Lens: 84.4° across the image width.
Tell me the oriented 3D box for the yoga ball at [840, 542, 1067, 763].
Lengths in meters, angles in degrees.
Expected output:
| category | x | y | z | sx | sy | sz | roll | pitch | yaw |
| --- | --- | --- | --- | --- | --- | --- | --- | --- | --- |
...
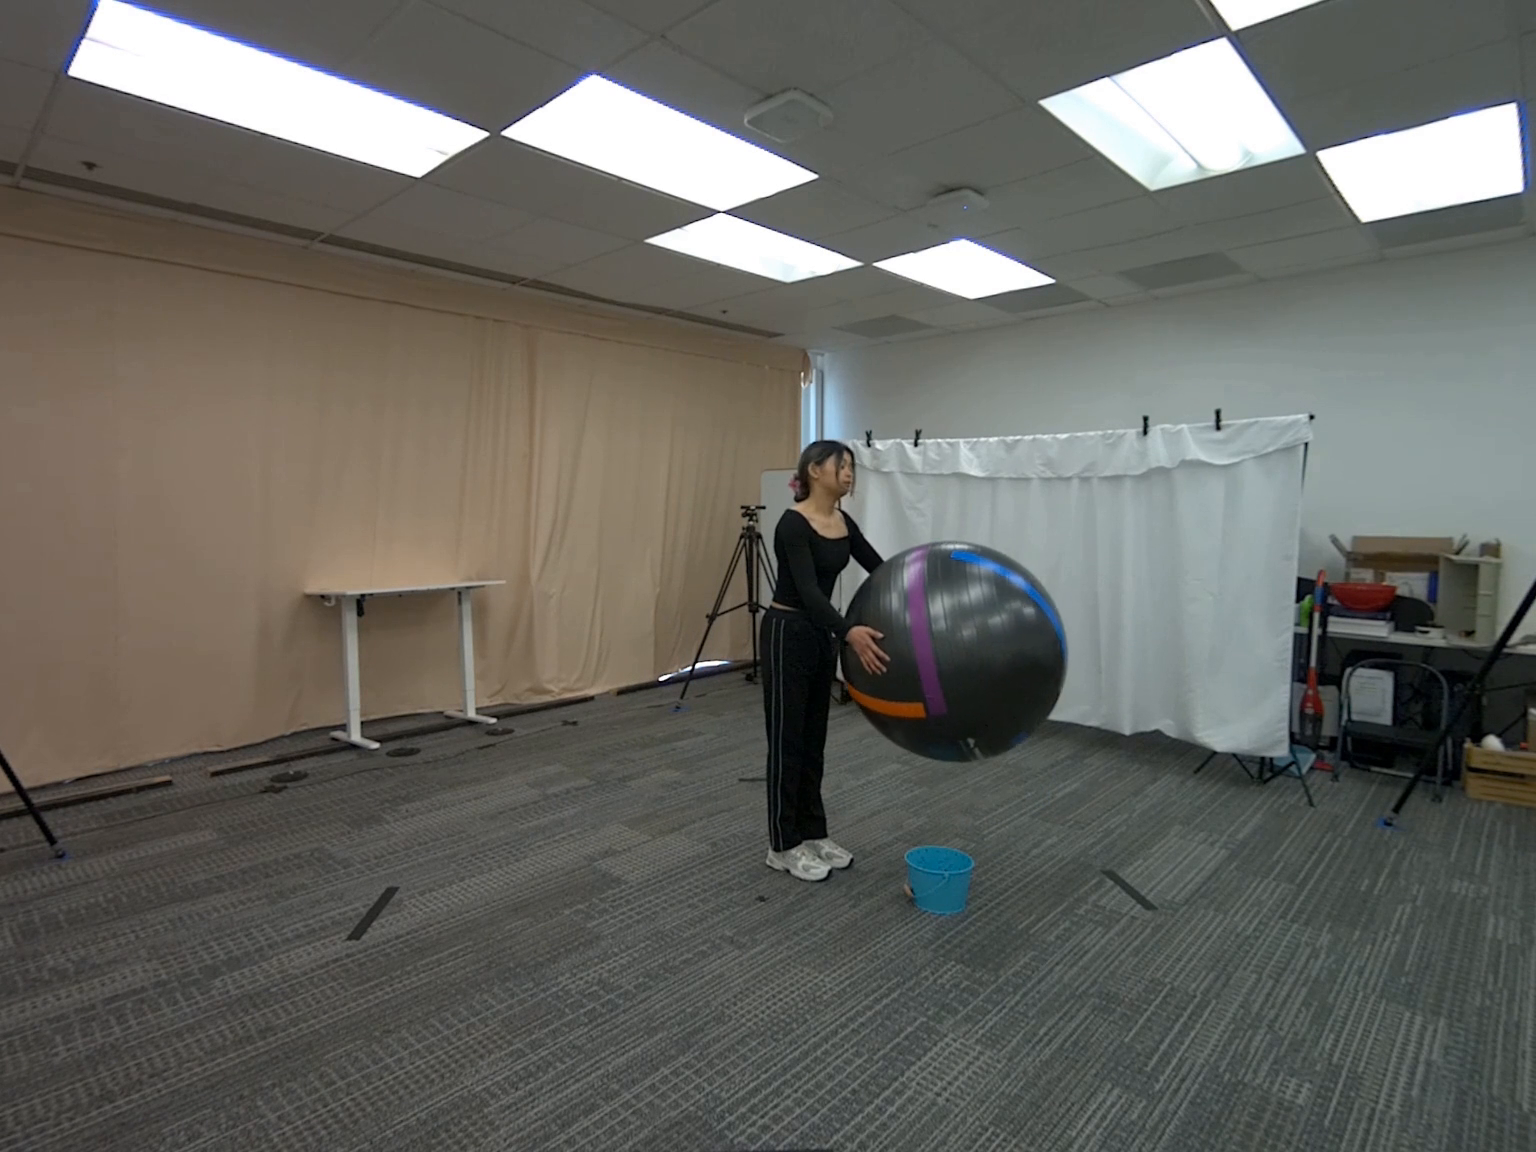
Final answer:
| category | x | y | z | sx | sy | sz | roll | pitch | yaw |
| --- | --- | --- | --- | --- | --- | --- | --- | --- | --- |
| yoga ball | 0.644 | 0.267 | 2.924 | 0.757 | 0.756 | 0.760 | 0 | 4 | -2 |
